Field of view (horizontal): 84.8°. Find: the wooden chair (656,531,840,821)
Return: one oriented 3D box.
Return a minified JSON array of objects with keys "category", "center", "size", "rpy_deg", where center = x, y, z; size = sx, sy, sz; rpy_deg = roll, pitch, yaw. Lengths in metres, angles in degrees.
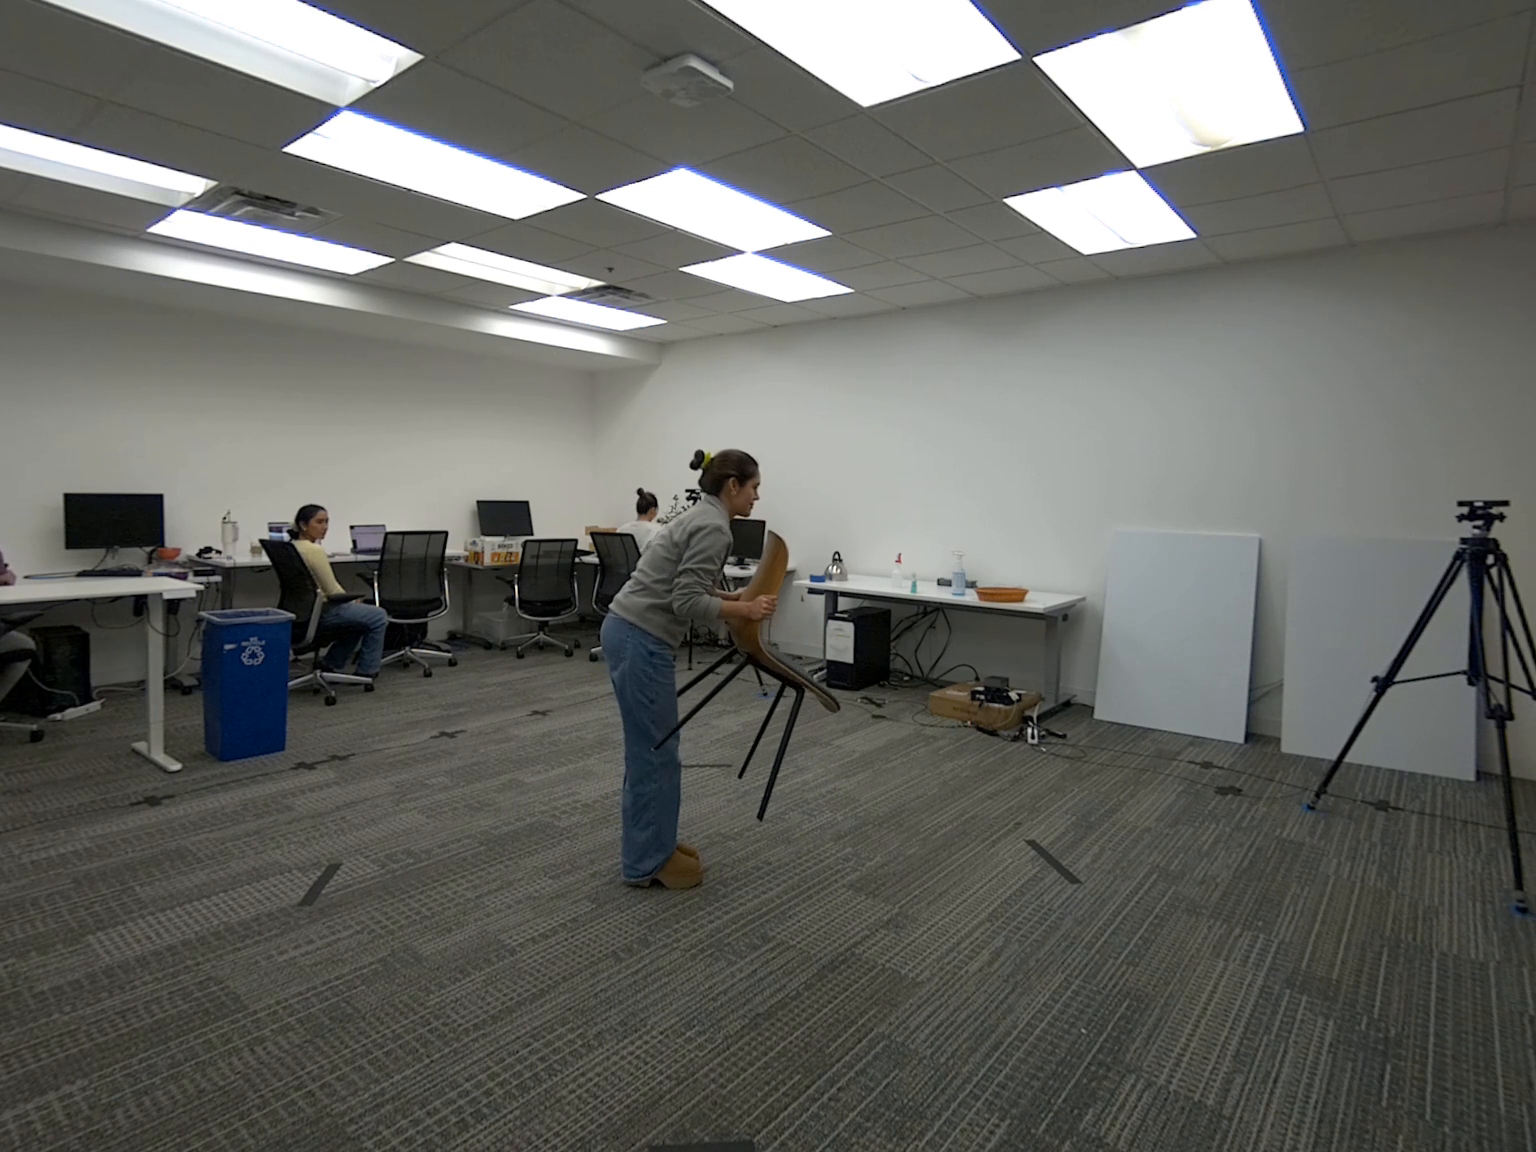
[{"category":"wooden chair","center":[0.001,0.347,3.091],"size":[0.517,0.878,0.484],"rpy_deg":[31,-2,-9]}]
